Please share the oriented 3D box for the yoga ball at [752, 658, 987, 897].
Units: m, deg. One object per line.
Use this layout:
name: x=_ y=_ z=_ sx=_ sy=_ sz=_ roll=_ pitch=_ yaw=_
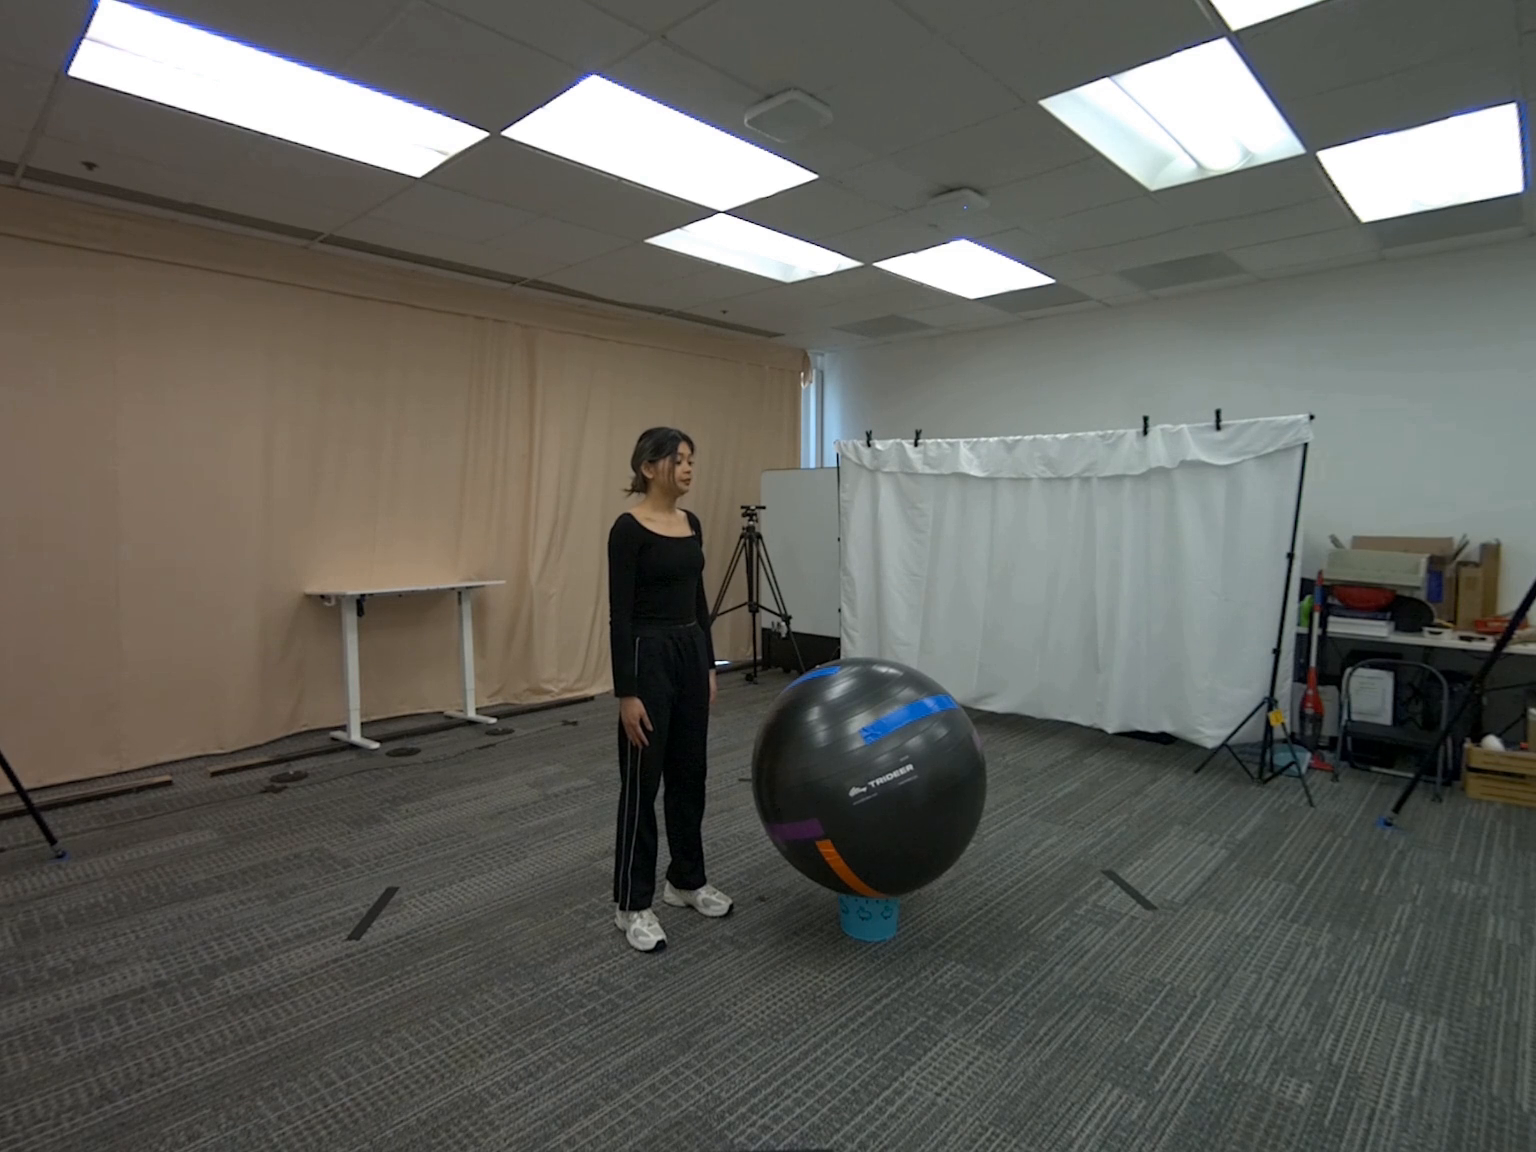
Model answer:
yoga ball: x=0.331 y=0.649 z=2.757 sx=0.757 sy=0.756 sz=0.760 roll=0 pitch=4 yaw=-2
